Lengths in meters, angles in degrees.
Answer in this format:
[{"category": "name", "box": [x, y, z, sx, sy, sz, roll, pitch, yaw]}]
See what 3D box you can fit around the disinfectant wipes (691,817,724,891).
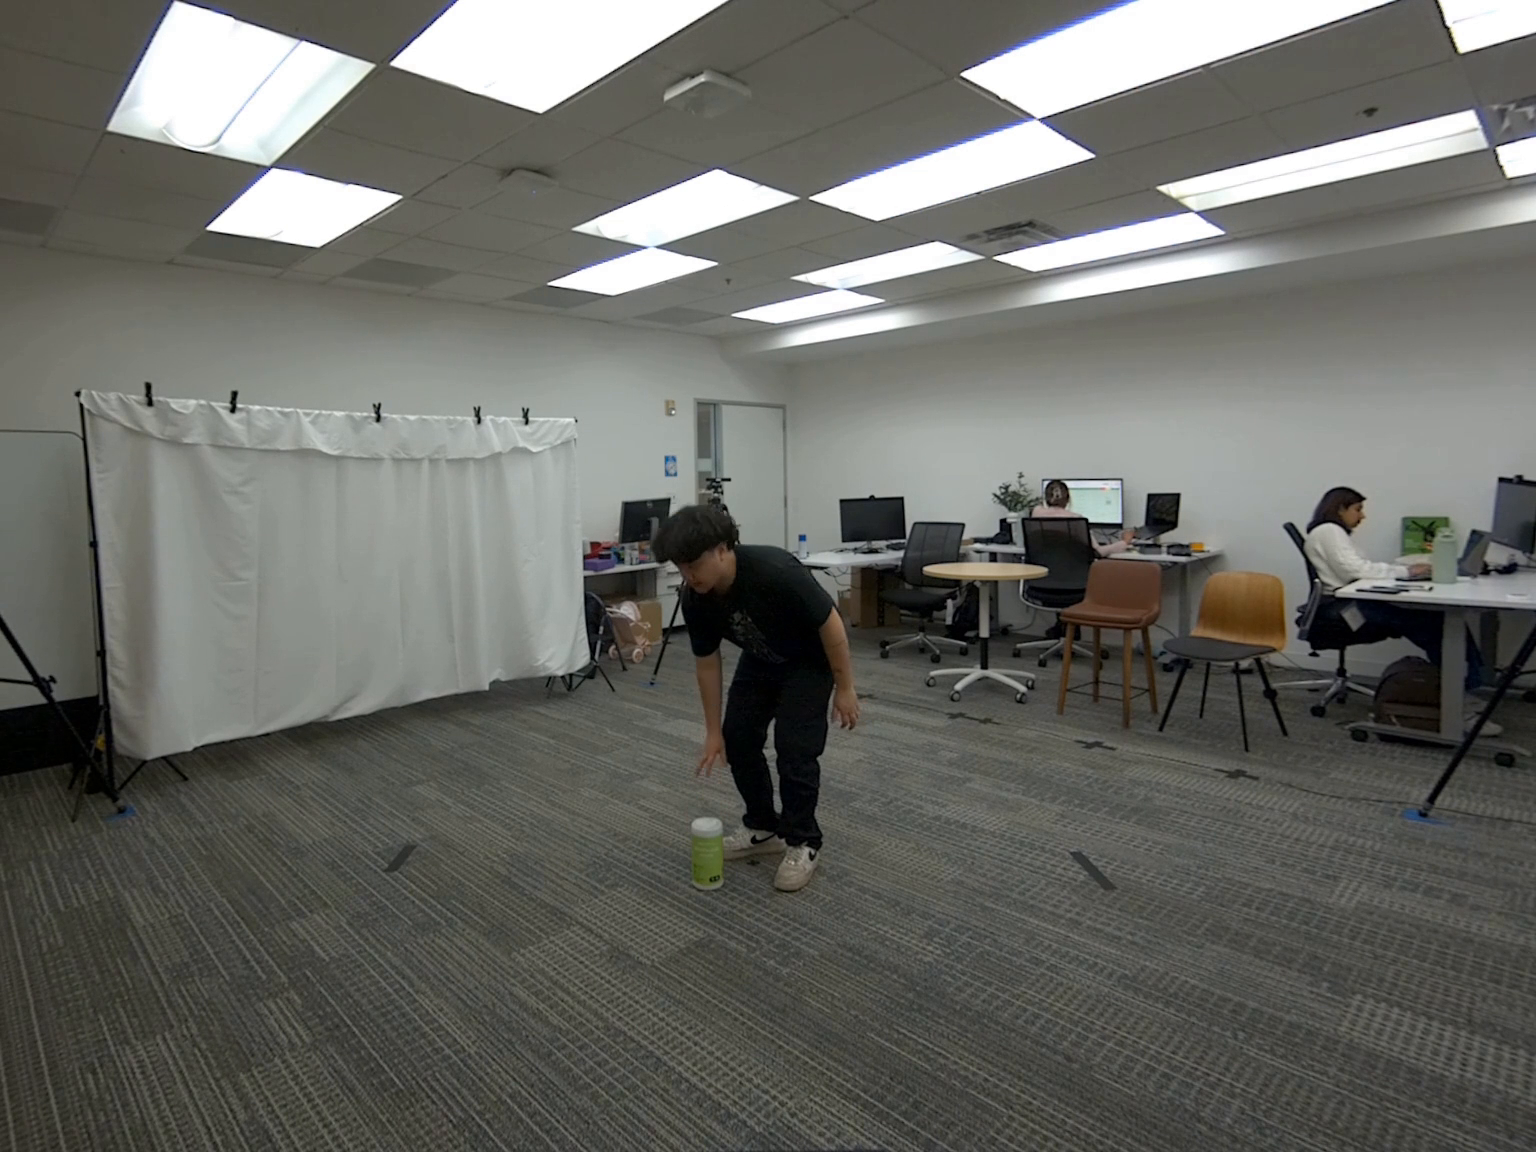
[{"category": "disinfectant wipes", "box": [-0.210, 0.962, 2.942, 0.118, 0.216, 0.118, -1, 6, -2]}]
